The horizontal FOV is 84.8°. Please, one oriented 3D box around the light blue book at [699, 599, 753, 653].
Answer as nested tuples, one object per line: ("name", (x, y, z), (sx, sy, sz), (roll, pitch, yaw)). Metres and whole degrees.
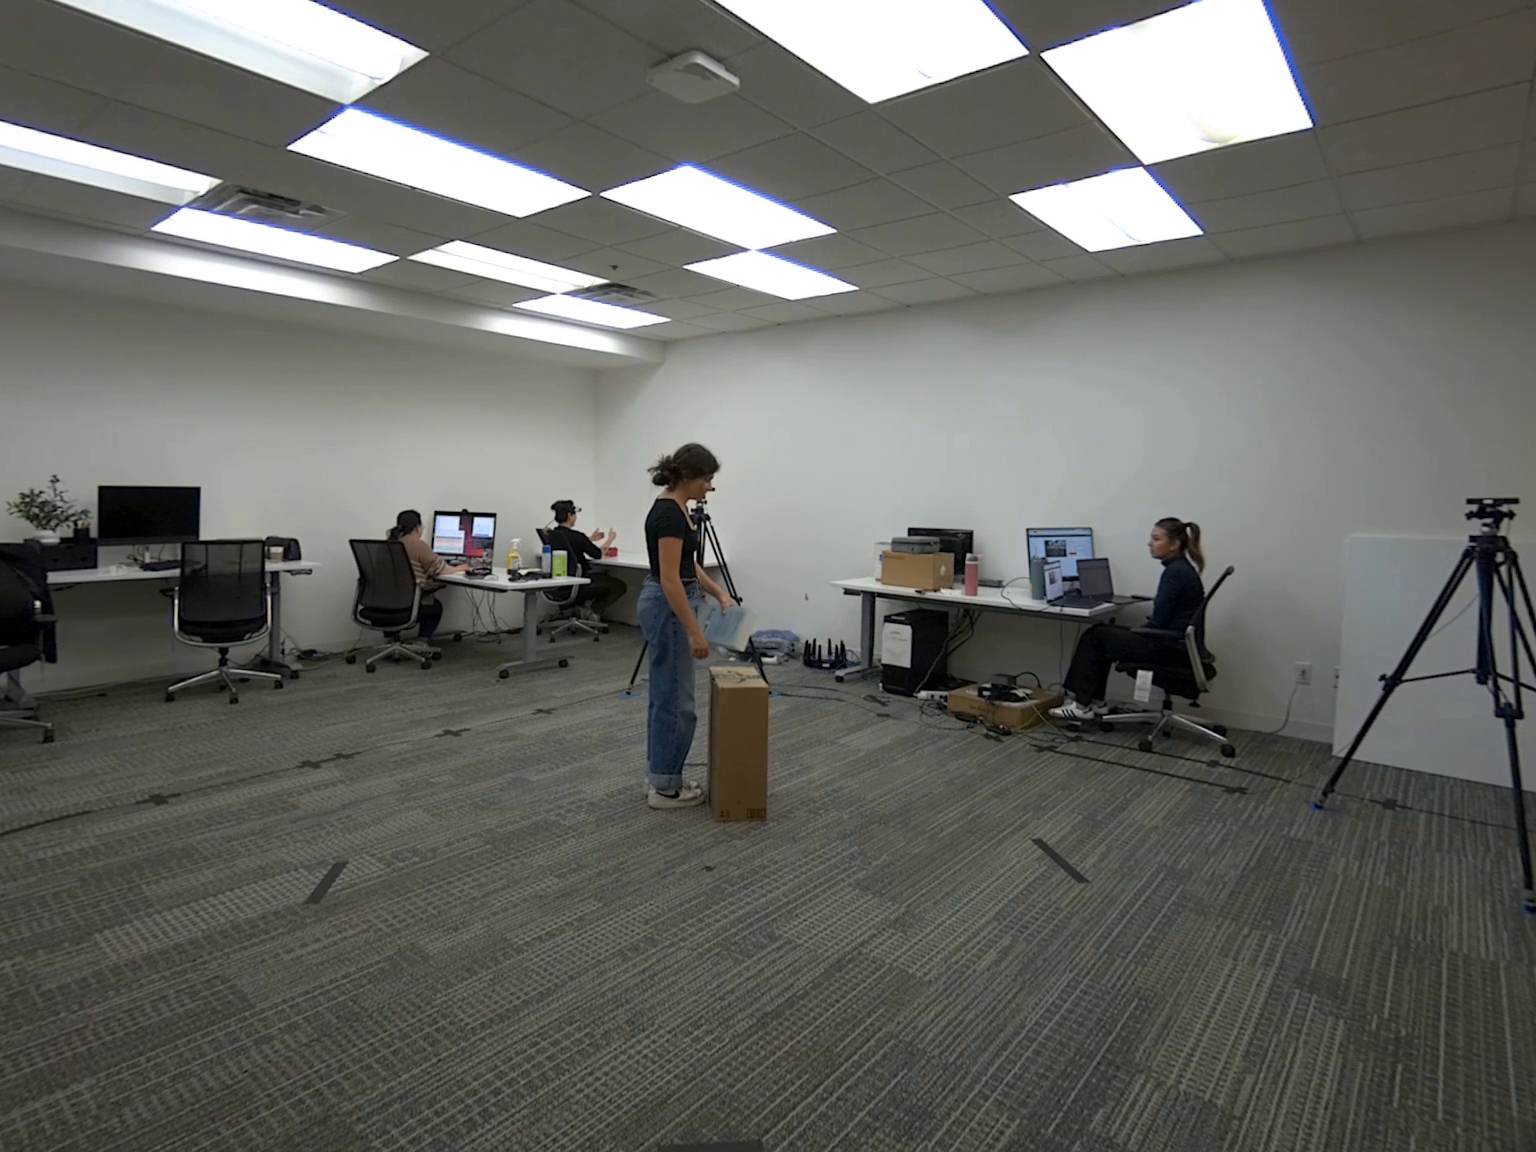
("light blue book", (-0.193, 0.225, 3.788), (0.270, 0.193, 0.056), (4, -21, 47))
